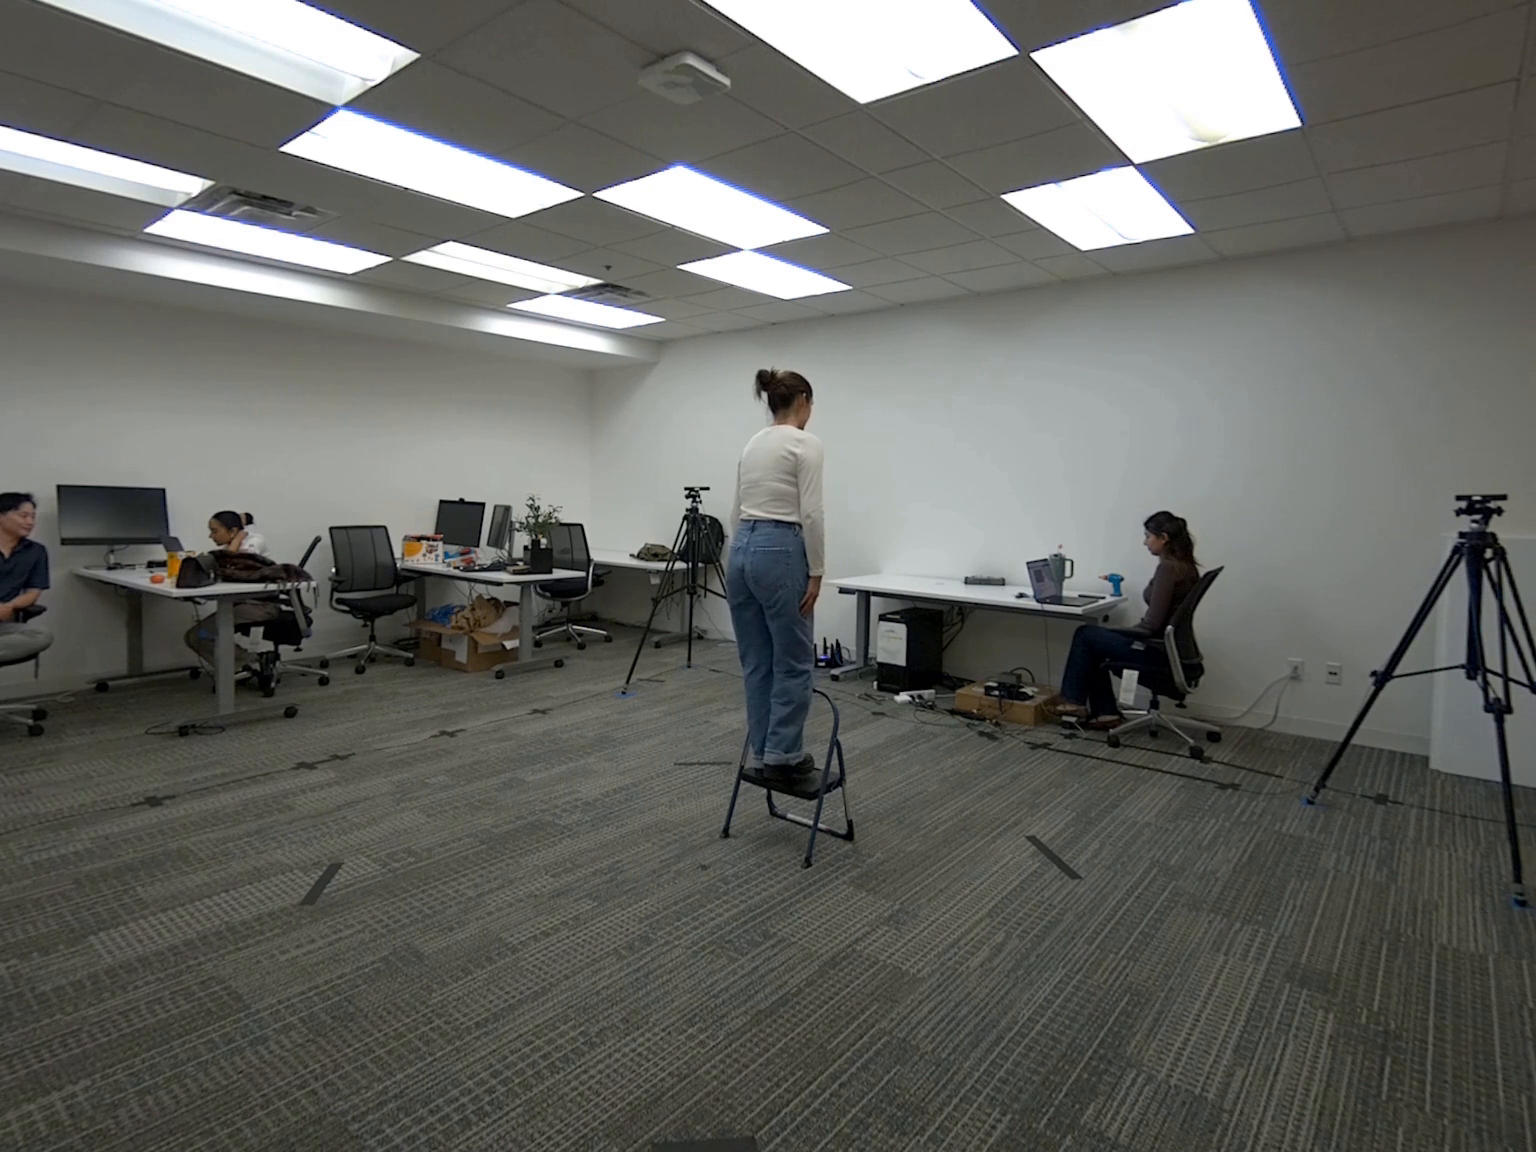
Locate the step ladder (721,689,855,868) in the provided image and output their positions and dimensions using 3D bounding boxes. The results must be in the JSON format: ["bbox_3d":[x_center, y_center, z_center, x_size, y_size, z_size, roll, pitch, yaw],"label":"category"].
[{"bbox_3d":[0.079,0.742,3.375,0.445,0.604,0.339,4,5,38],"label":"step ladder"}]
